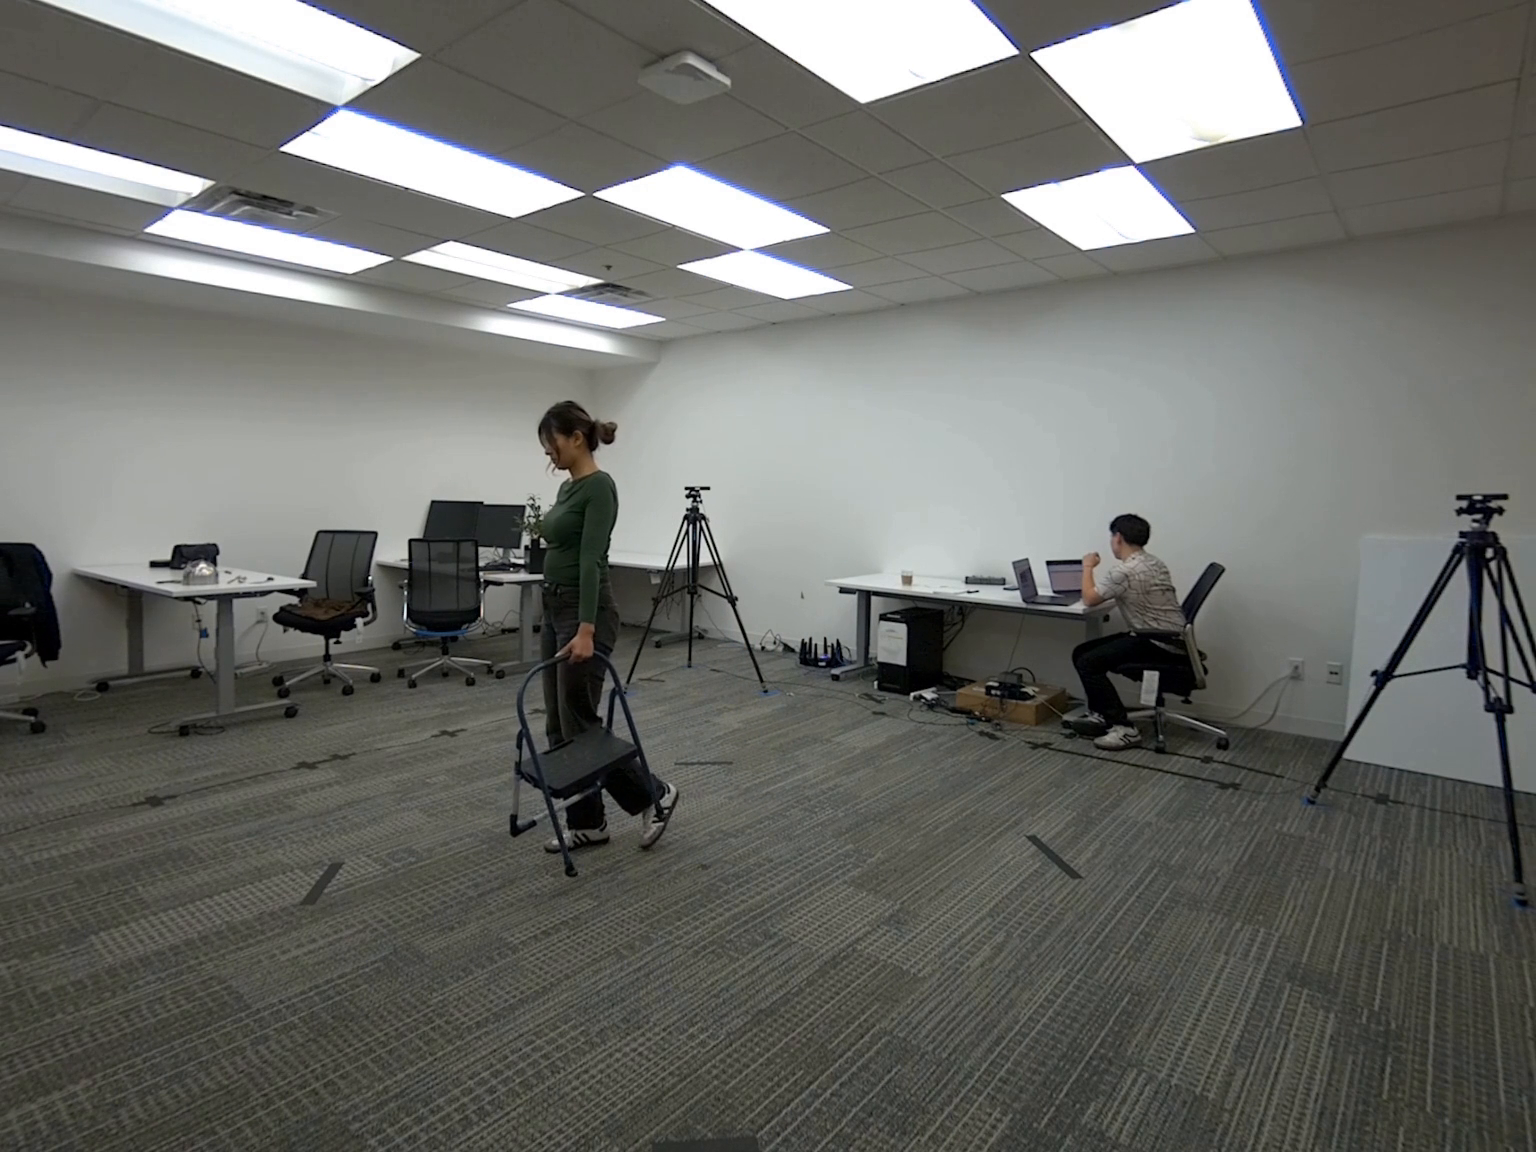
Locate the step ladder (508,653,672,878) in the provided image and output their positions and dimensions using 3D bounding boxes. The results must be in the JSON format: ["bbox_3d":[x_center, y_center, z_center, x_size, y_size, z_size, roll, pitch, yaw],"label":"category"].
[{"bbox_3d":[-0.631,0.572,2.846,0.361,0.598,0.422,8,18,38],"label":"step ladder"}]
